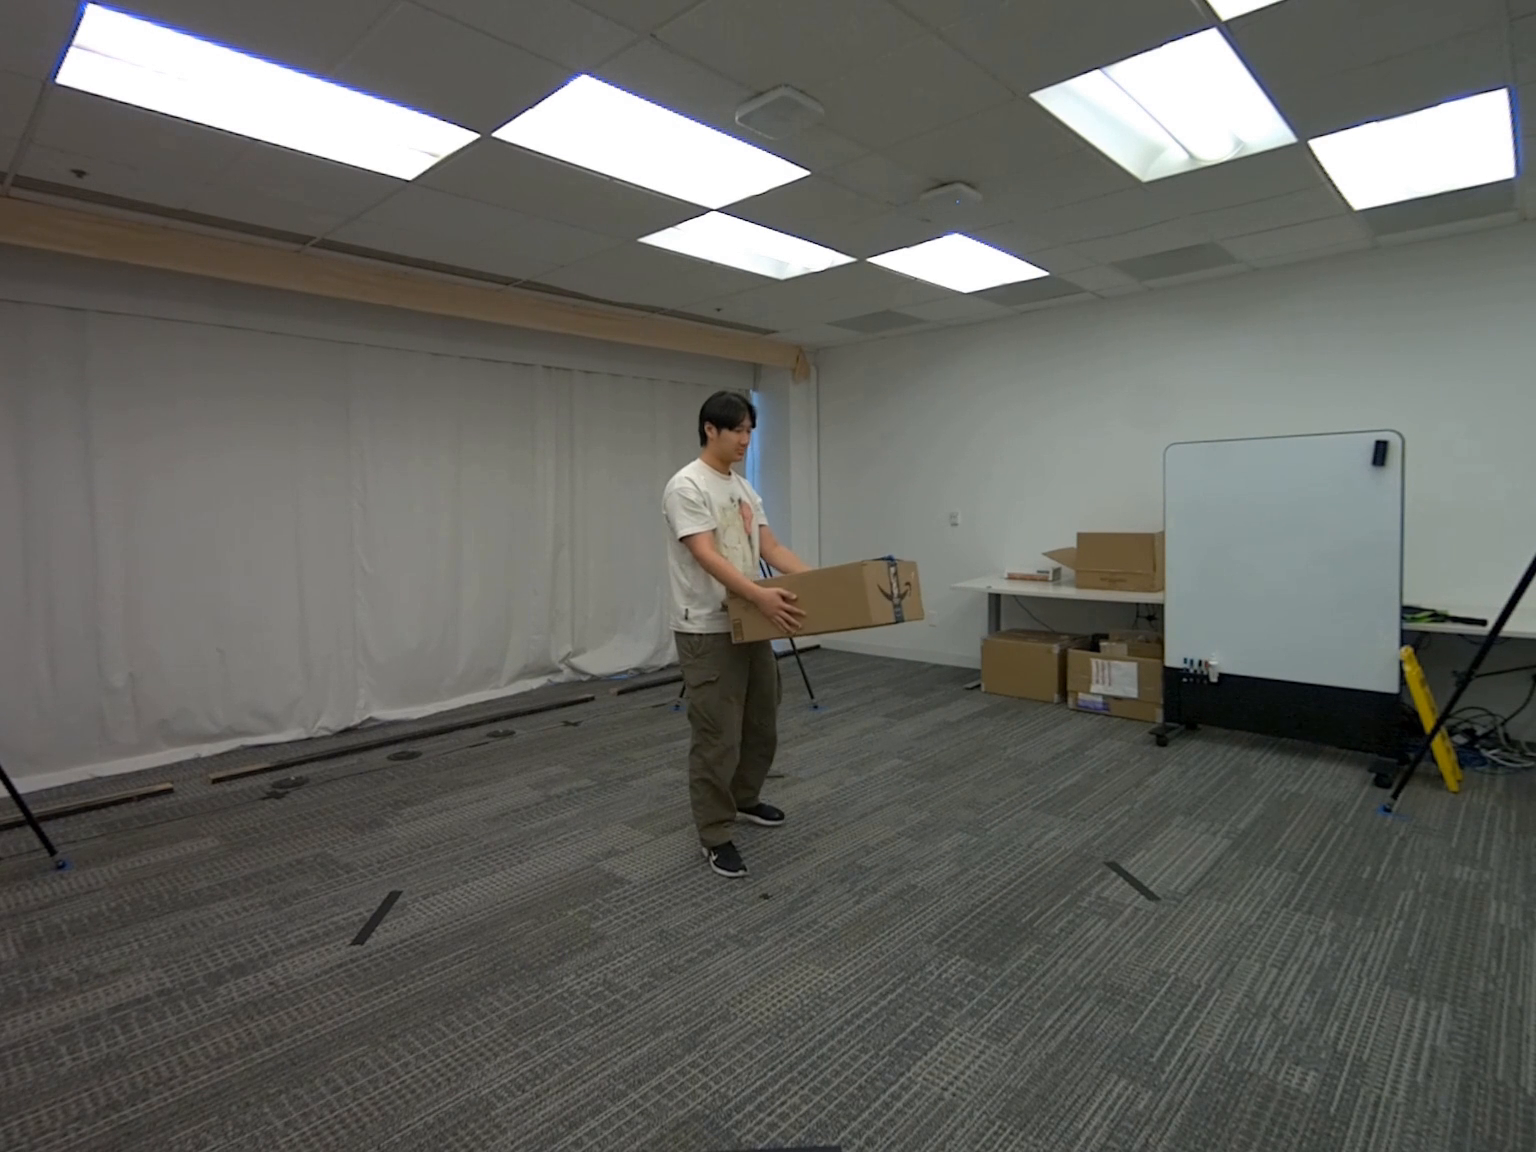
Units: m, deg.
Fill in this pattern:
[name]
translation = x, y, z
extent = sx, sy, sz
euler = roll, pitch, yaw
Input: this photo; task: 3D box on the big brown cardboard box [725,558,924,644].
[big brown cardboard box]
translation = 0.209, 0.094, 3.057
extent = 0.604, 0.234, 0.405
euler = -12, -6, 34
